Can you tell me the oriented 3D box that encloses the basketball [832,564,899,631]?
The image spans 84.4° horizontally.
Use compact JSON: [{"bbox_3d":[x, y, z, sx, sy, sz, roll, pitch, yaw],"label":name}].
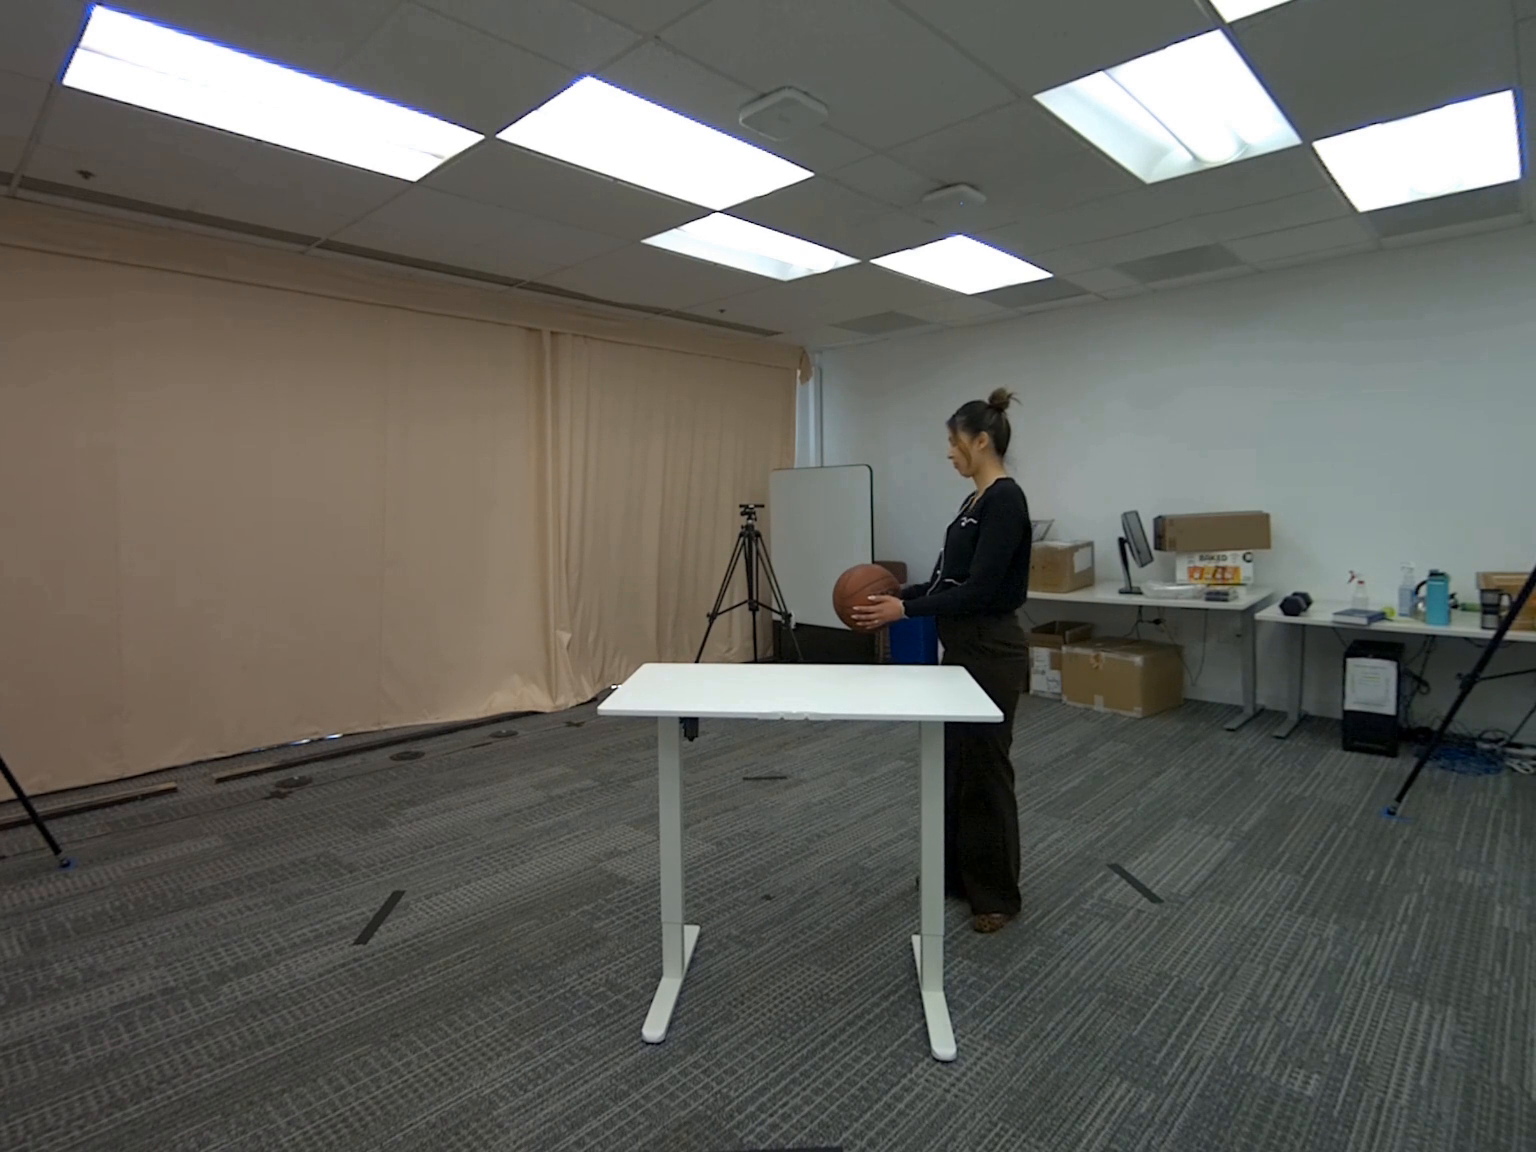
[{"bbox_3d":[0.349,0.080,2.889,0.236,0.235,0.237,-1,4,-2],"label":"basketball"}]
